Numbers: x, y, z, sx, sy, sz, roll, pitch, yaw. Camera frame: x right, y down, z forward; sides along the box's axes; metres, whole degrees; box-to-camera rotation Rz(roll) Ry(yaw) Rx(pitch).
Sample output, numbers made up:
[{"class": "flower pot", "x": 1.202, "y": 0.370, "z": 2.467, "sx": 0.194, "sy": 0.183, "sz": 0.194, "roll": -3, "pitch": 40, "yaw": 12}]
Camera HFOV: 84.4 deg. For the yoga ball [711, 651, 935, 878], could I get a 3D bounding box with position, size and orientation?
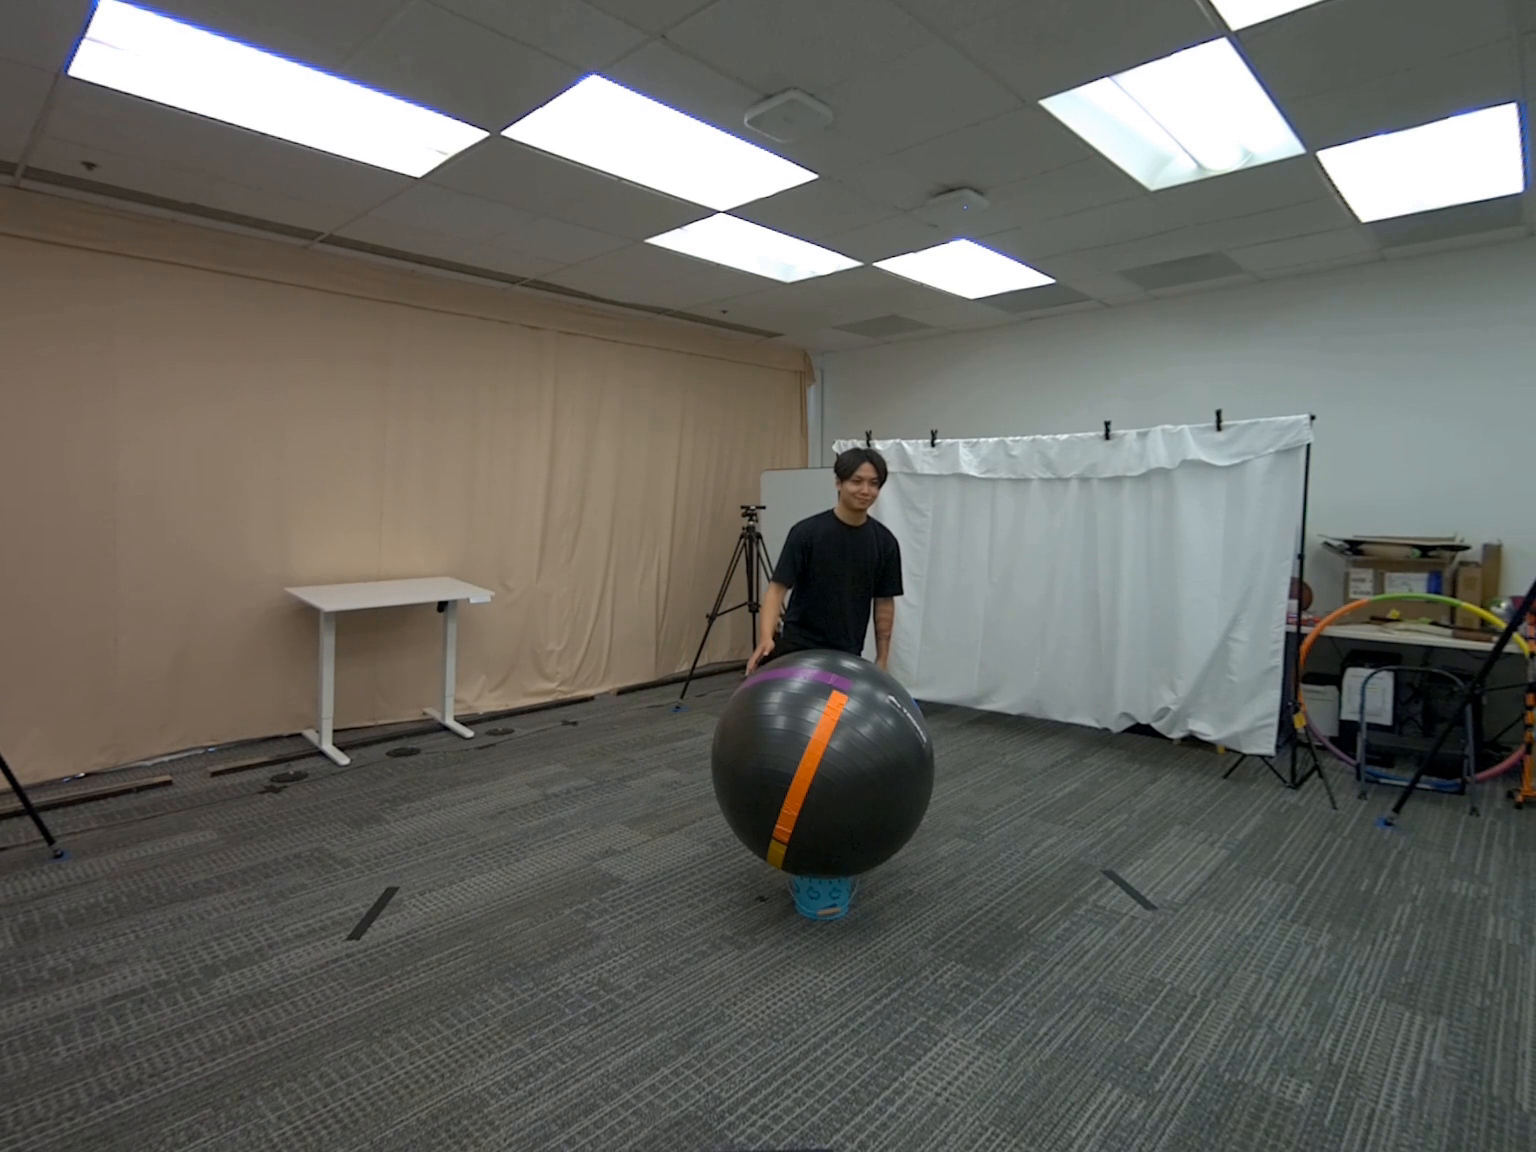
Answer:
[{"class": "yoga ball", "x": 0.182, "y": 0.638, "z": 2.888, "sx": 0.757, "sy": 0.756, "sz": 0.760, "roll": 0, "pitch": 4, "yaw": -2}]
